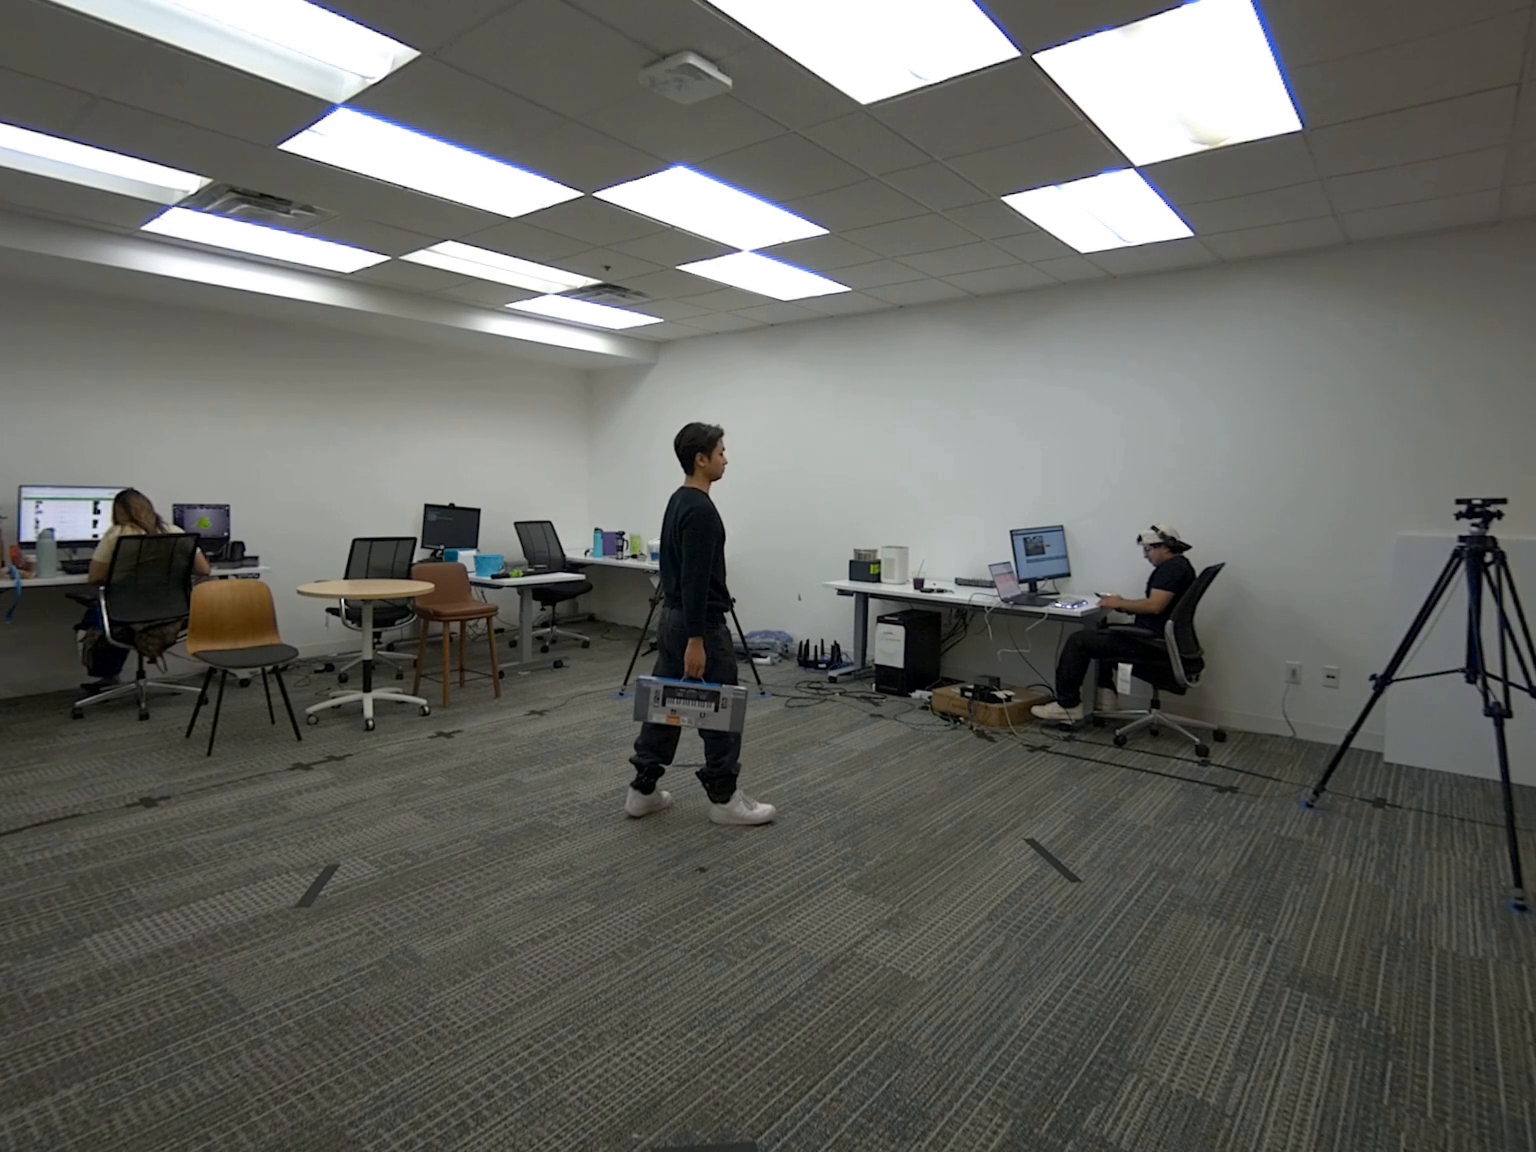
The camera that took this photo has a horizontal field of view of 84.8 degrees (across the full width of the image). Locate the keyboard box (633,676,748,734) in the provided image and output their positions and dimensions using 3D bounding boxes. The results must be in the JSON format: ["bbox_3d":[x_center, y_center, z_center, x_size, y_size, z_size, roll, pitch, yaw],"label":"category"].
[{"bbox_3d":[-0.309,0.497,3.372,0.437,0.175,0.059,5,3,0],"label":"keyboard box"}]
